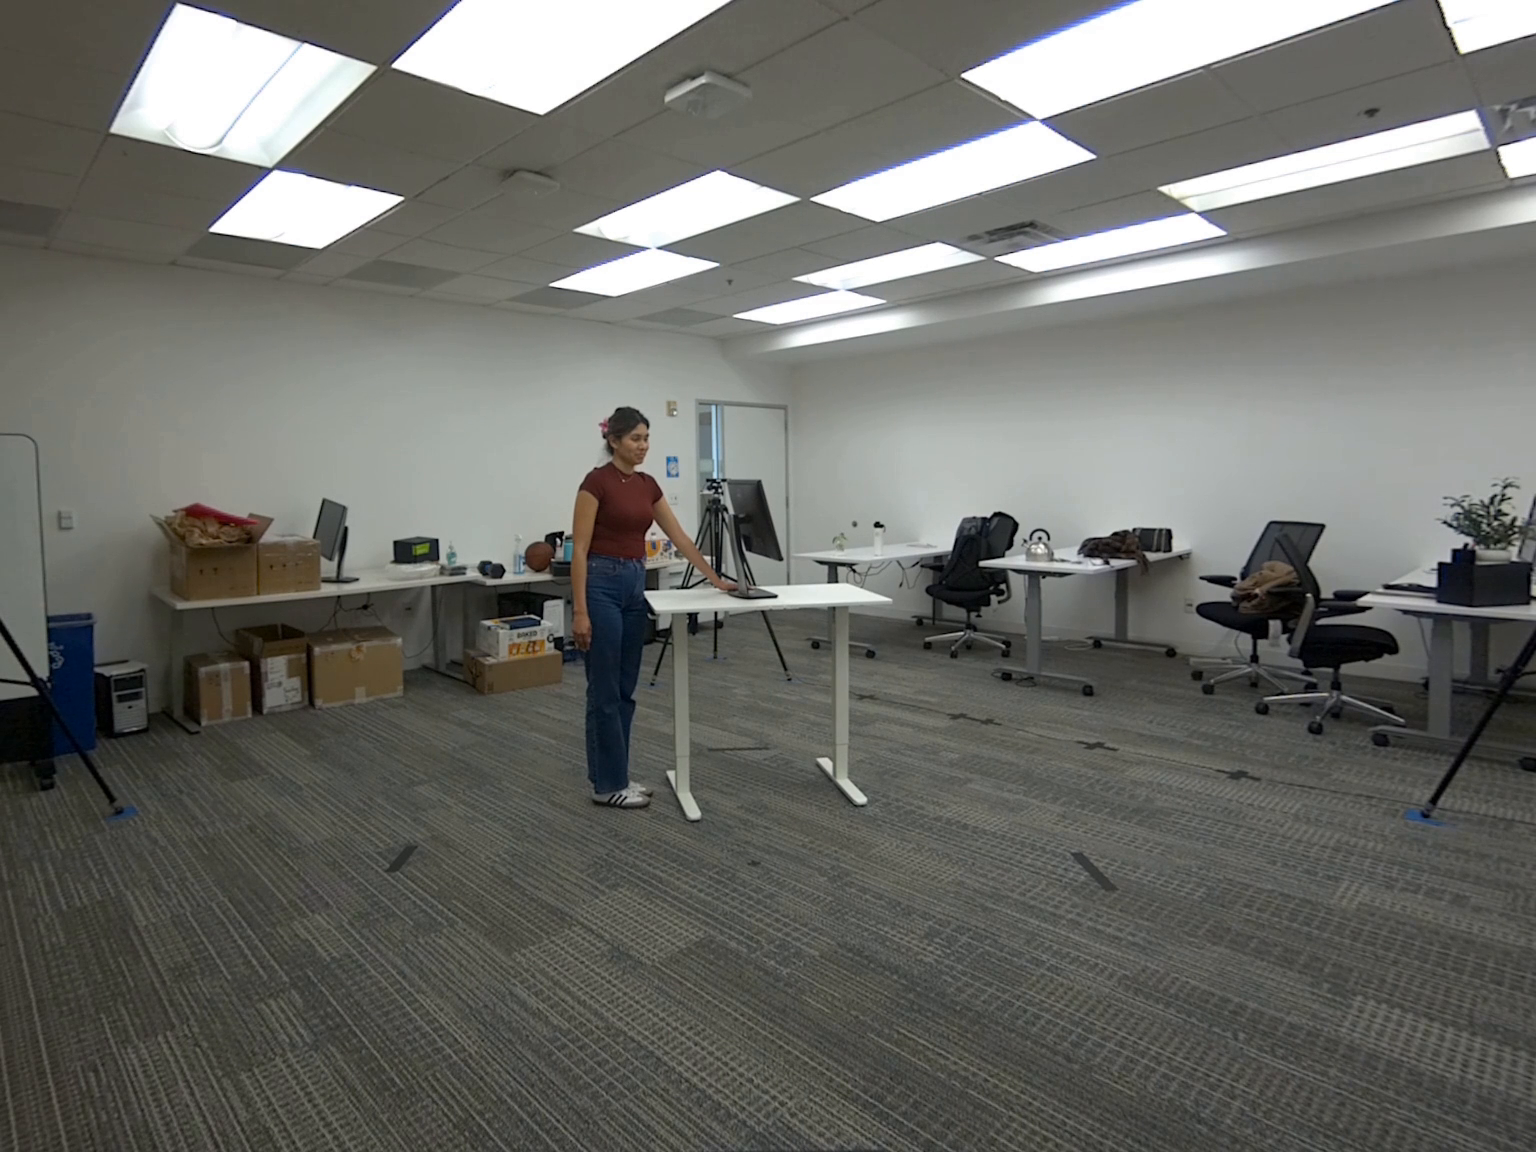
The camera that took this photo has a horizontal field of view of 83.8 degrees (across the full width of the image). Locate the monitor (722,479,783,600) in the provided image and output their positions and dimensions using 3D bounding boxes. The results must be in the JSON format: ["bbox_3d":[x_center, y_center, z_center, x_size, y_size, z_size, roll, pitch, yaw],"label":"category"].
[{"bbox_3d":[-0.097,-0.169,3.785,0.184,0.520,0.550,-4,7,-18],"label":"monitor"}]
